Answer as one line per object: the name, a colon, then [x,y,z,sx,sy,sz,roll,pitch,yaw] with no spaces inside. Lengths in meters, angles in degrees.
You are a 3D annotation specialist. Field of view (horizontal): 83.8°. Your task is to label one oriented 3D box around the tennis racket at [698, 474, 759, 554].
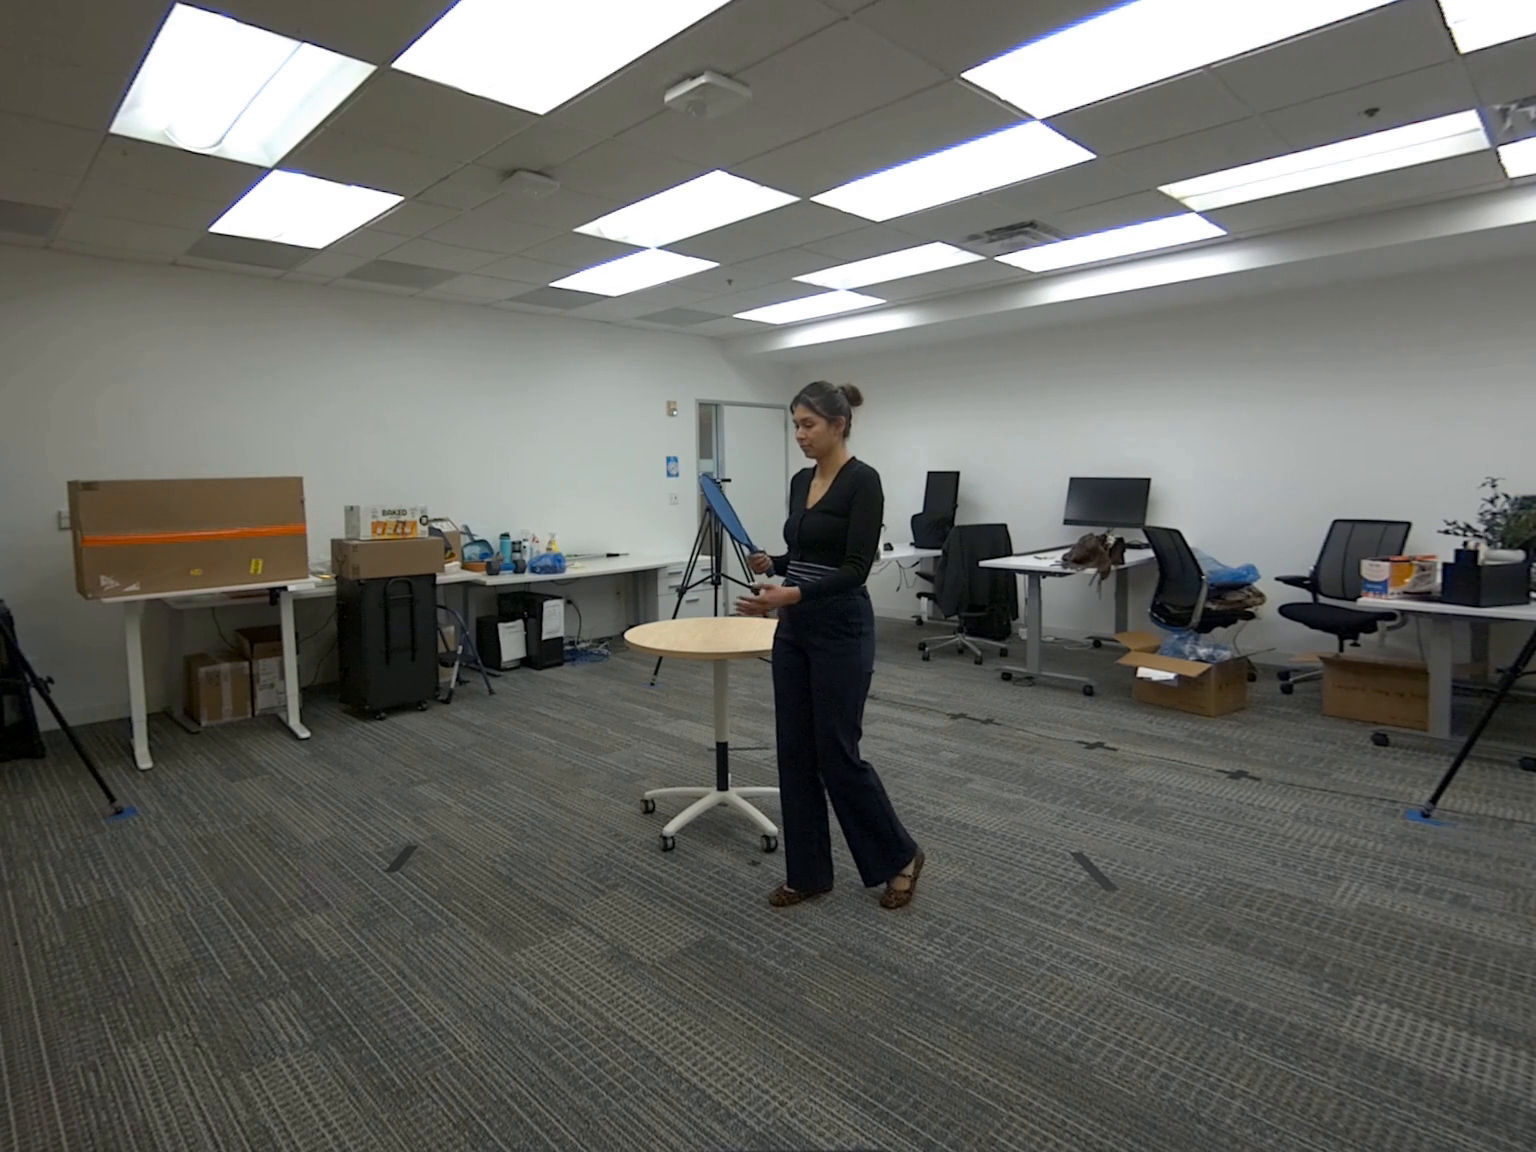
tennis racket: [-0.090,-0.155,2.676,0.032,0.417,0.220,-24,37,16]
